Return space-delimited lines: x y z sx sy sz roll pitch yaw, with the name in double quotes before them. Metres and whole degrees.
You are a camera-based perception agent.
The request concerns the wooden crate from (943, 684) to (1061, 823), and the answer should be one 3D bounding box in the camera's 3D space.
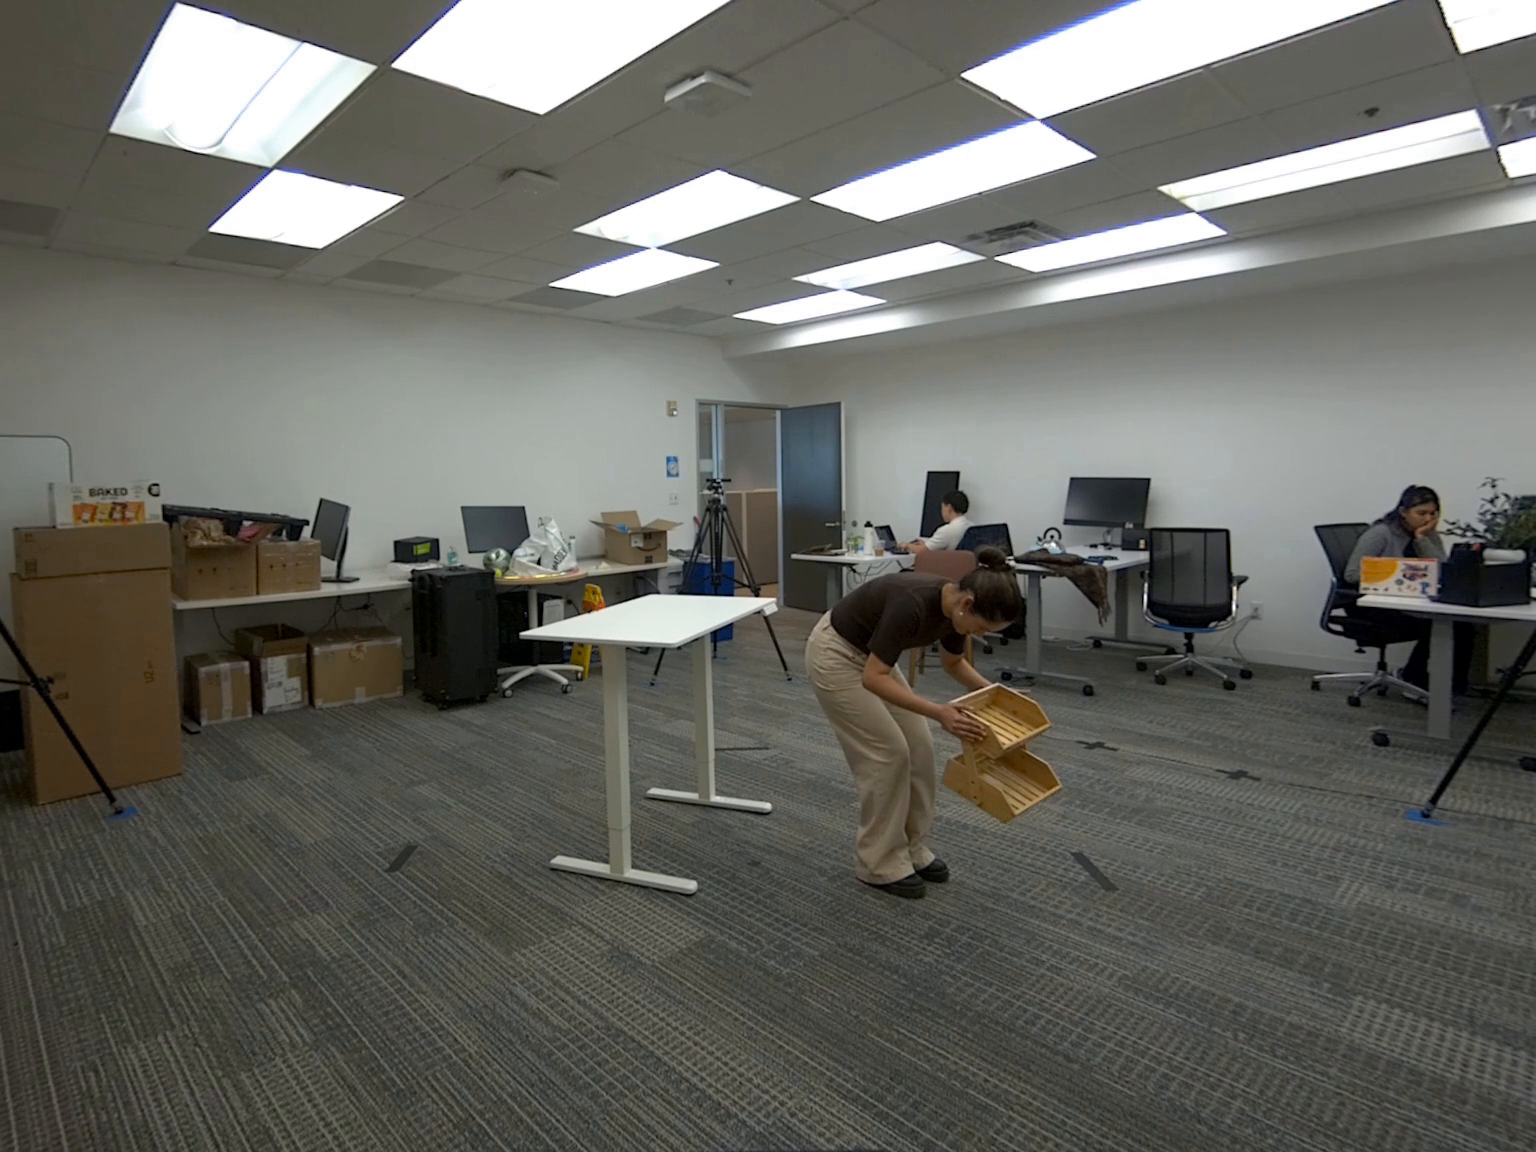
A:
"wooden crate" 0.748 0.548 2.664 0.316 0.270 0.313 -9 26 -43
